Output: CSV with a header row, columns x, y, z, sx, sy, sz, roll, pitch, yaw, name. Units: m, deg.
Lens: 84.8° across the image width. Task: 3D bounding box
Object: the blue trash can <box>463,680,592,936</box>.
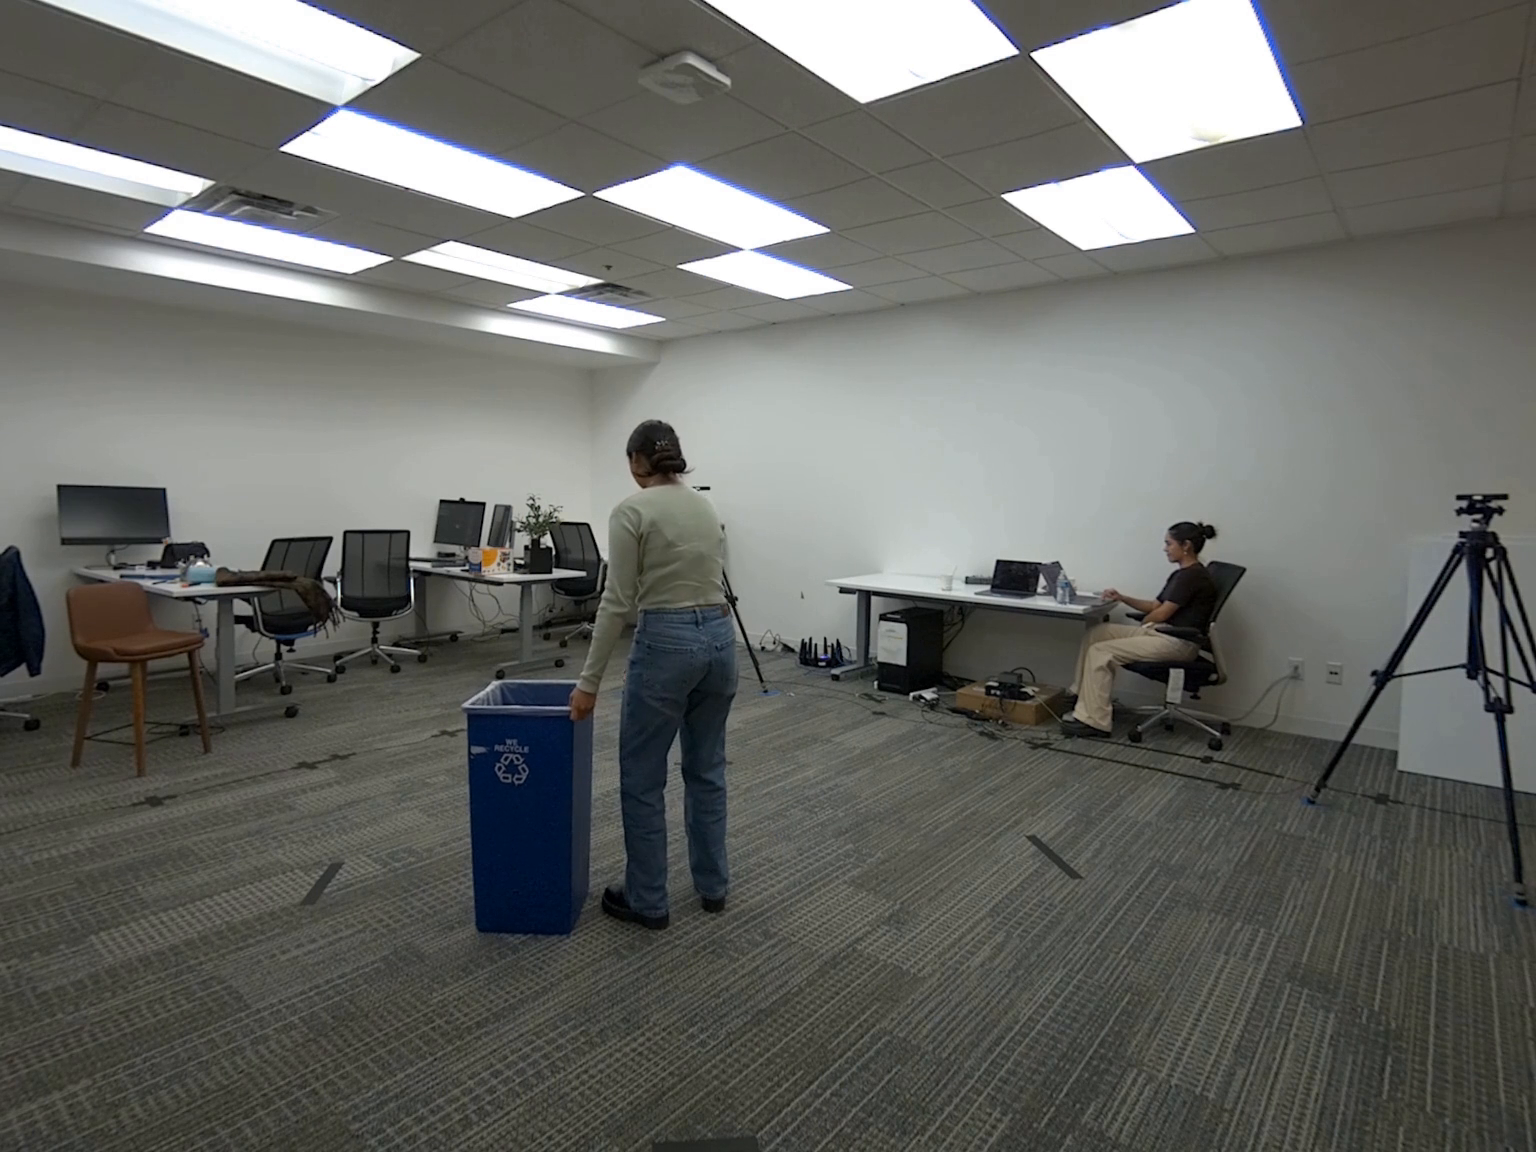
x,y,z,sx,sy,sz,roll,pitch,yaw,name
-0.762,0.735,2.766,0.375,0.711,0.378,0,3,2,blue trash can
